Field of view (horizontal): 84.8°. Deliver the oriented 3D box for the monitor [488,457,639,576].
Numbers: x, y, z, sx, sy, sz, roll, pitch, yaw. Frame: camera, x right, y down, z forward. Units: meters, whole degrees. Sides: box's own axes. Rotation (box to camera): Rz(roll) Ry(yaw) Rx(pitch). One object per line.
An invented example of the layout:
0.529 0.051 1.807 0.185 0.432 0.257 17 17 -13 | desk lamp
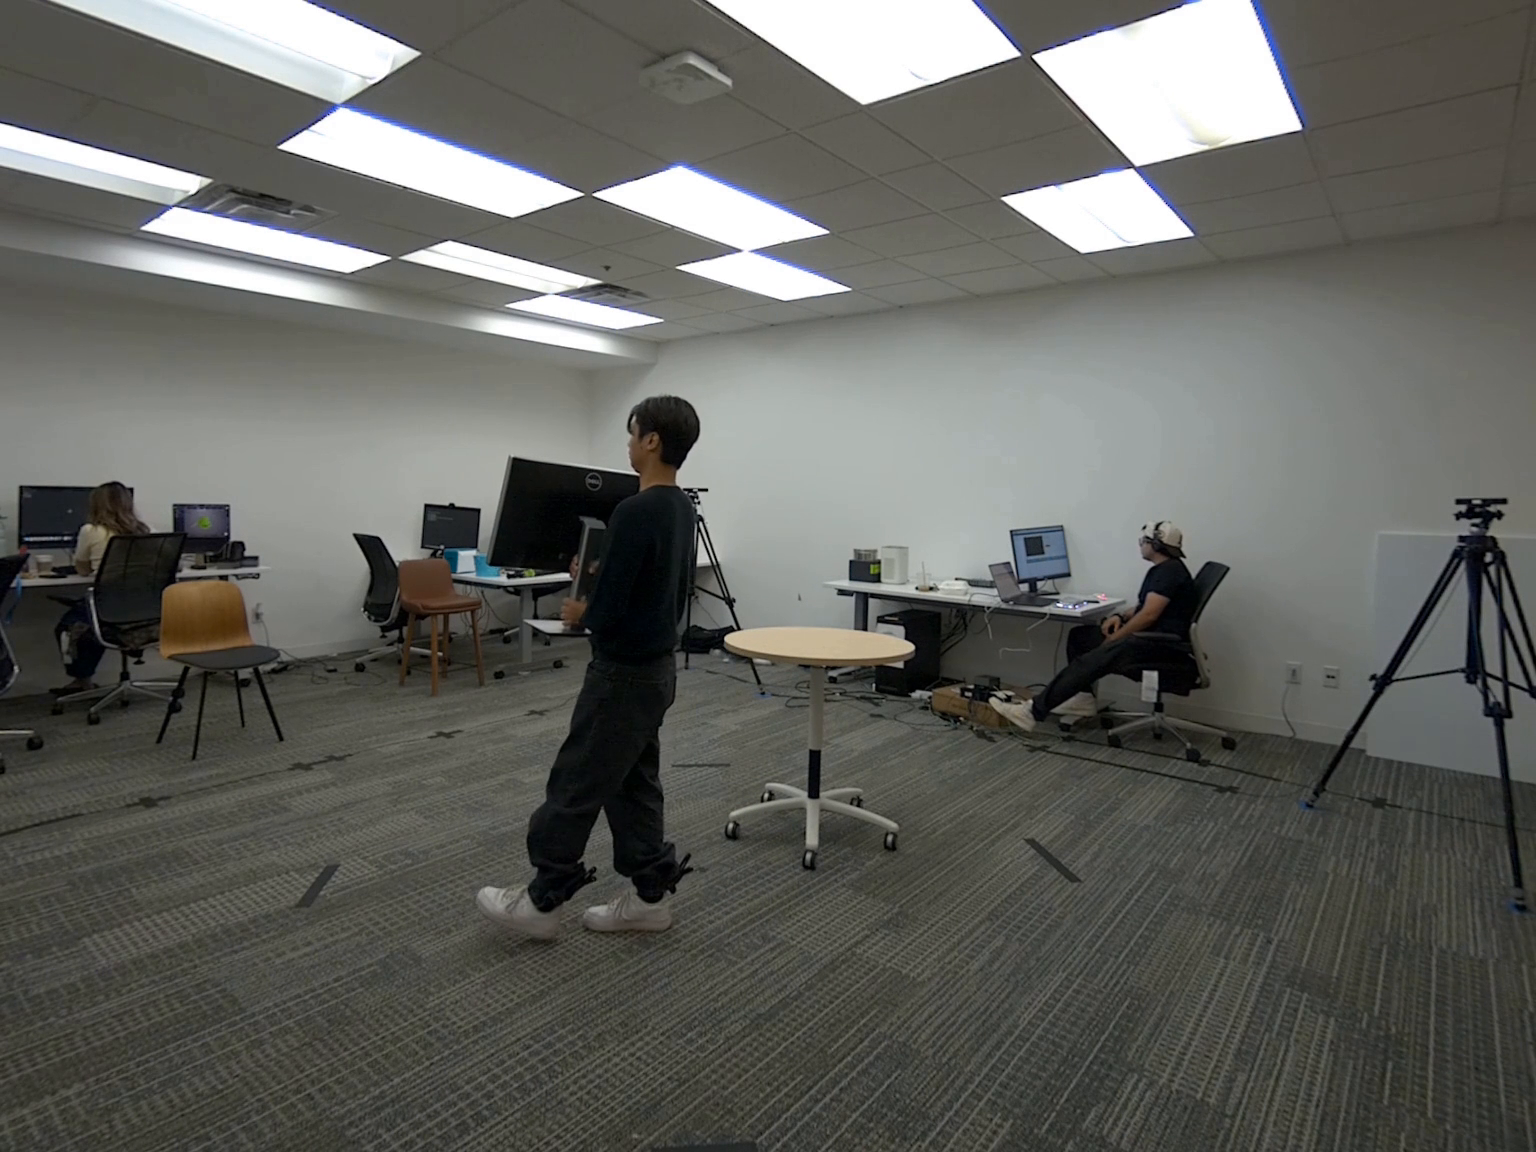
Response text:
-0.630 -0.097 2.772 0.513 0.516 0.180 4 0 -36 | monitor
